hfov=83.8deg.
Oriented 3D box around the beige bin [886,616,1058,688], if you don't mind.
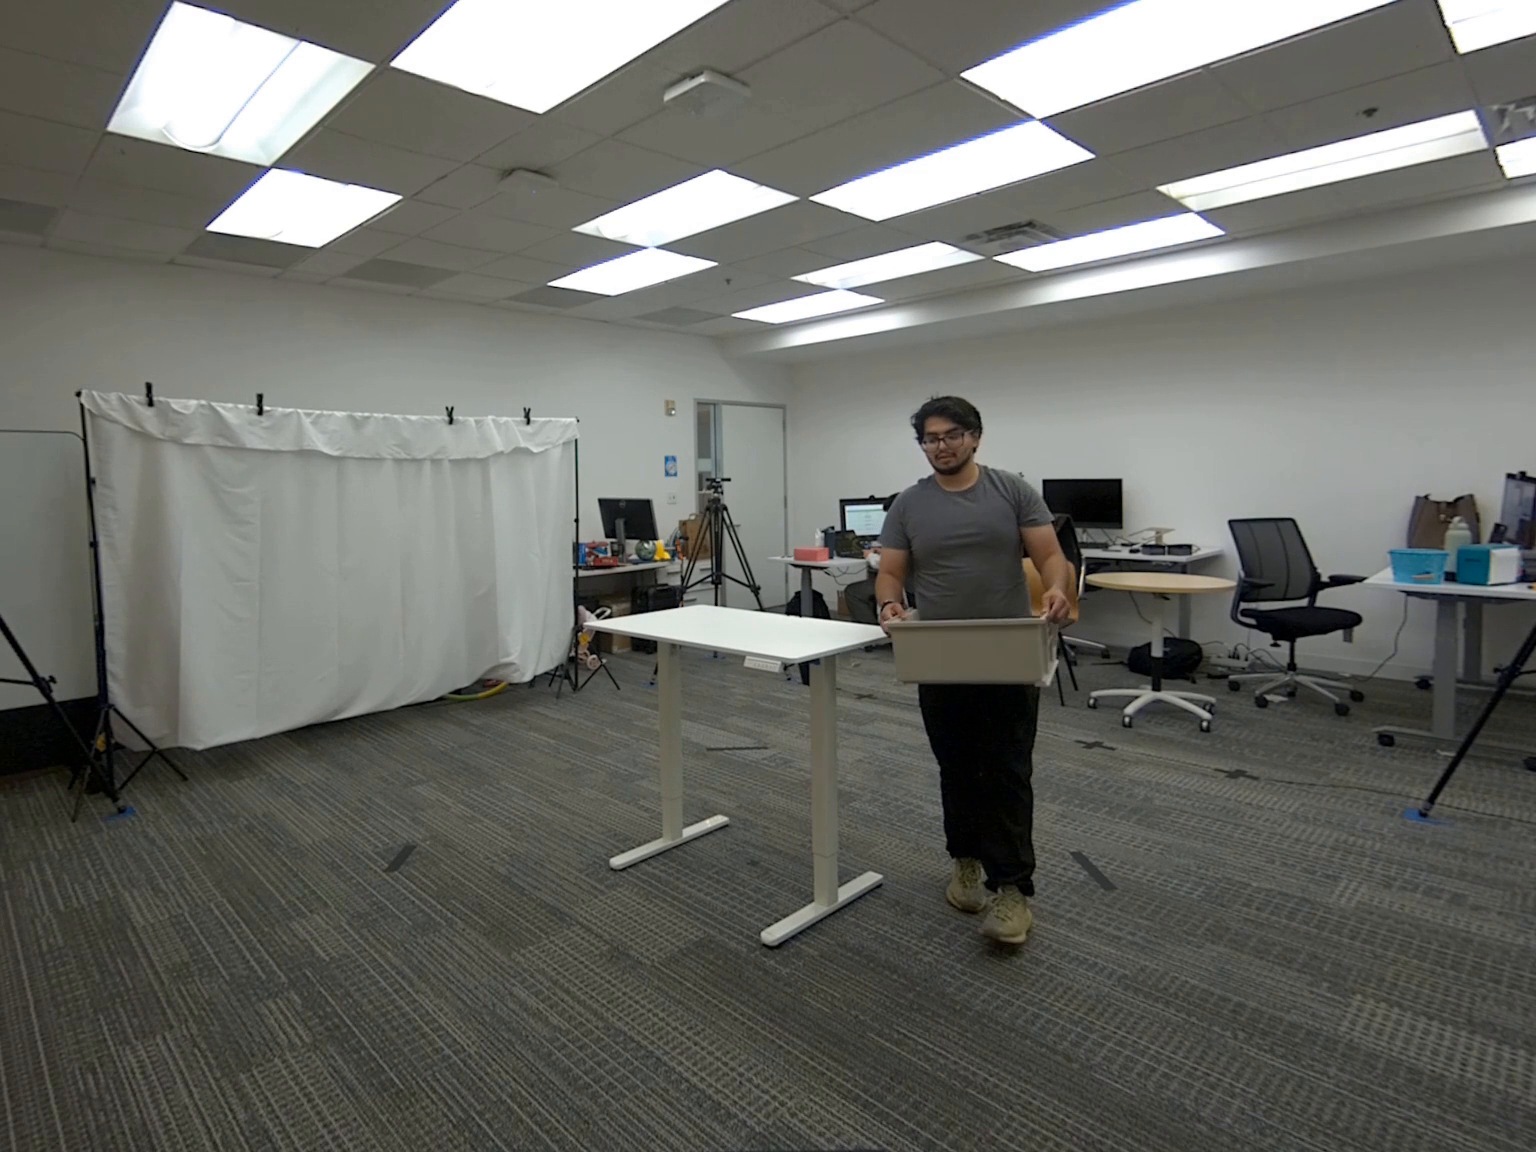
[{"bbox_3d":[0.587,0.180,2.451,0.431,0.188,0.372,-1,9,24],"label":"beige bin"}]
